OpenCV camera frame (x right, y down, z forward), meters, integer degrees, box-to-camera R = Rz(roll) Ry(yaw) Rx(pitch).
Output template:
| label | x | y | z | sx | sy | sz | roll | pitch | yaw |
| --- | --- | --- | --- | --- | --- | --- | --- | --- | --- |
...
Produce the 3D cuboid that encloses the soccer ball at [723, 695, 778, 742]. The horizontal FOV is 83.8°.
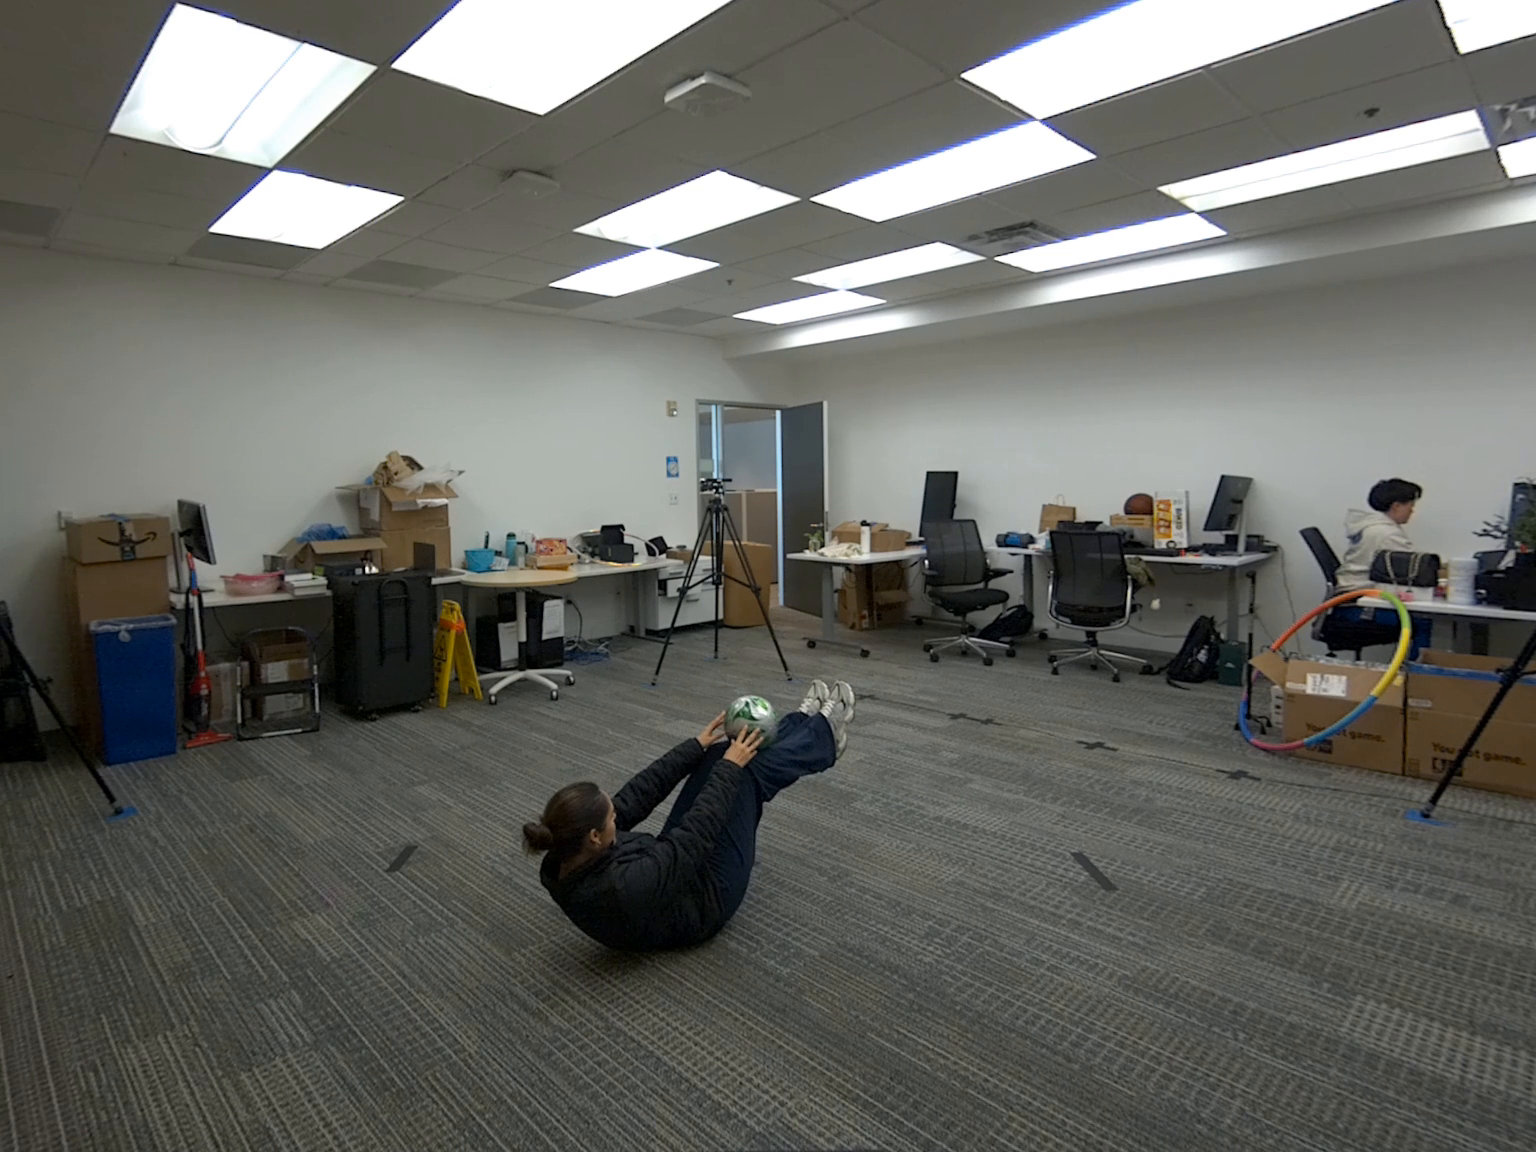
| label | x | y | z | sx | sy | sz | roll | pitch | yaw |
| --- | --- | --- | --- | --- | --- | --- | --- | --- | --- |
| soccer ball | -0.054 | 0.493 | 2.873 | 0.187 | 0.187 | 0.188 | 0 | 1 | -2 |
